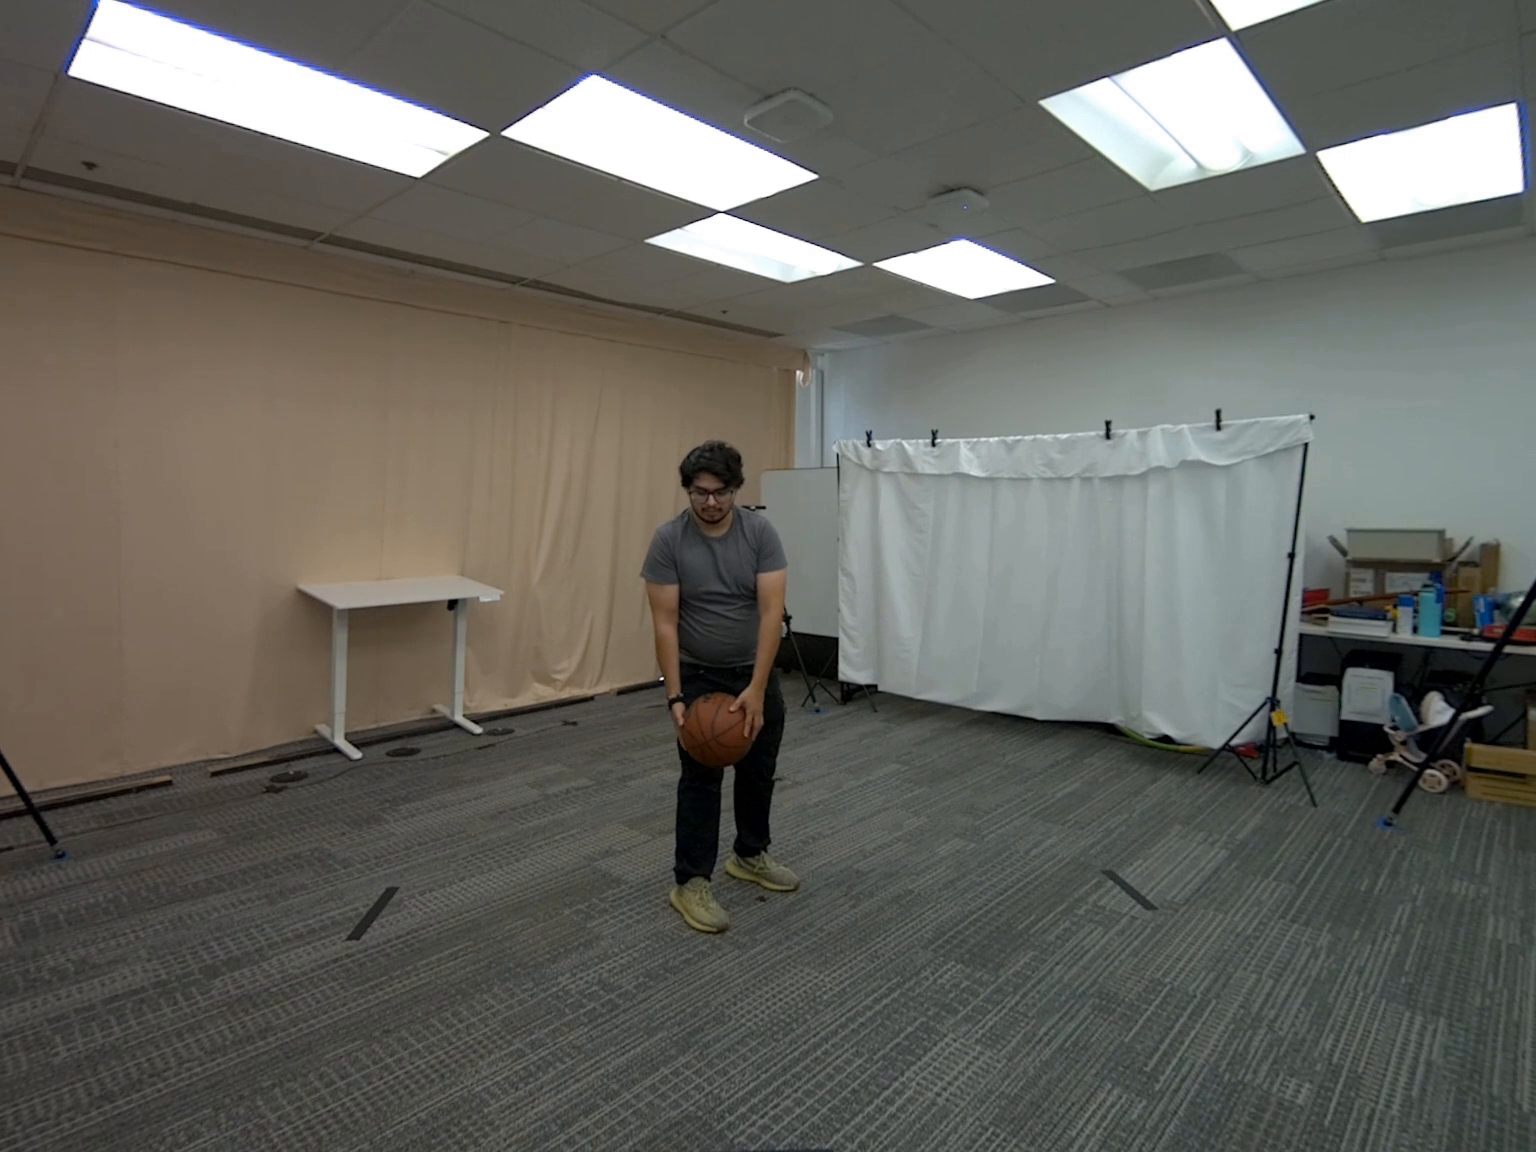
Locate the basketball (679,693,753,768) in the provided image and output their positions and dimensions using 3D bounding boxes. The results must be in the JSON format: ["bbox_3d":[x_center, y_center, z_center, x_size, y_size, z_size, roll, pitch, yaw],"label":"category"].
[{"bbox_3d":[-0.157,0.491,2.726,0.236,0.235,0.237,0,4,-2],"label":"basketball"}]
